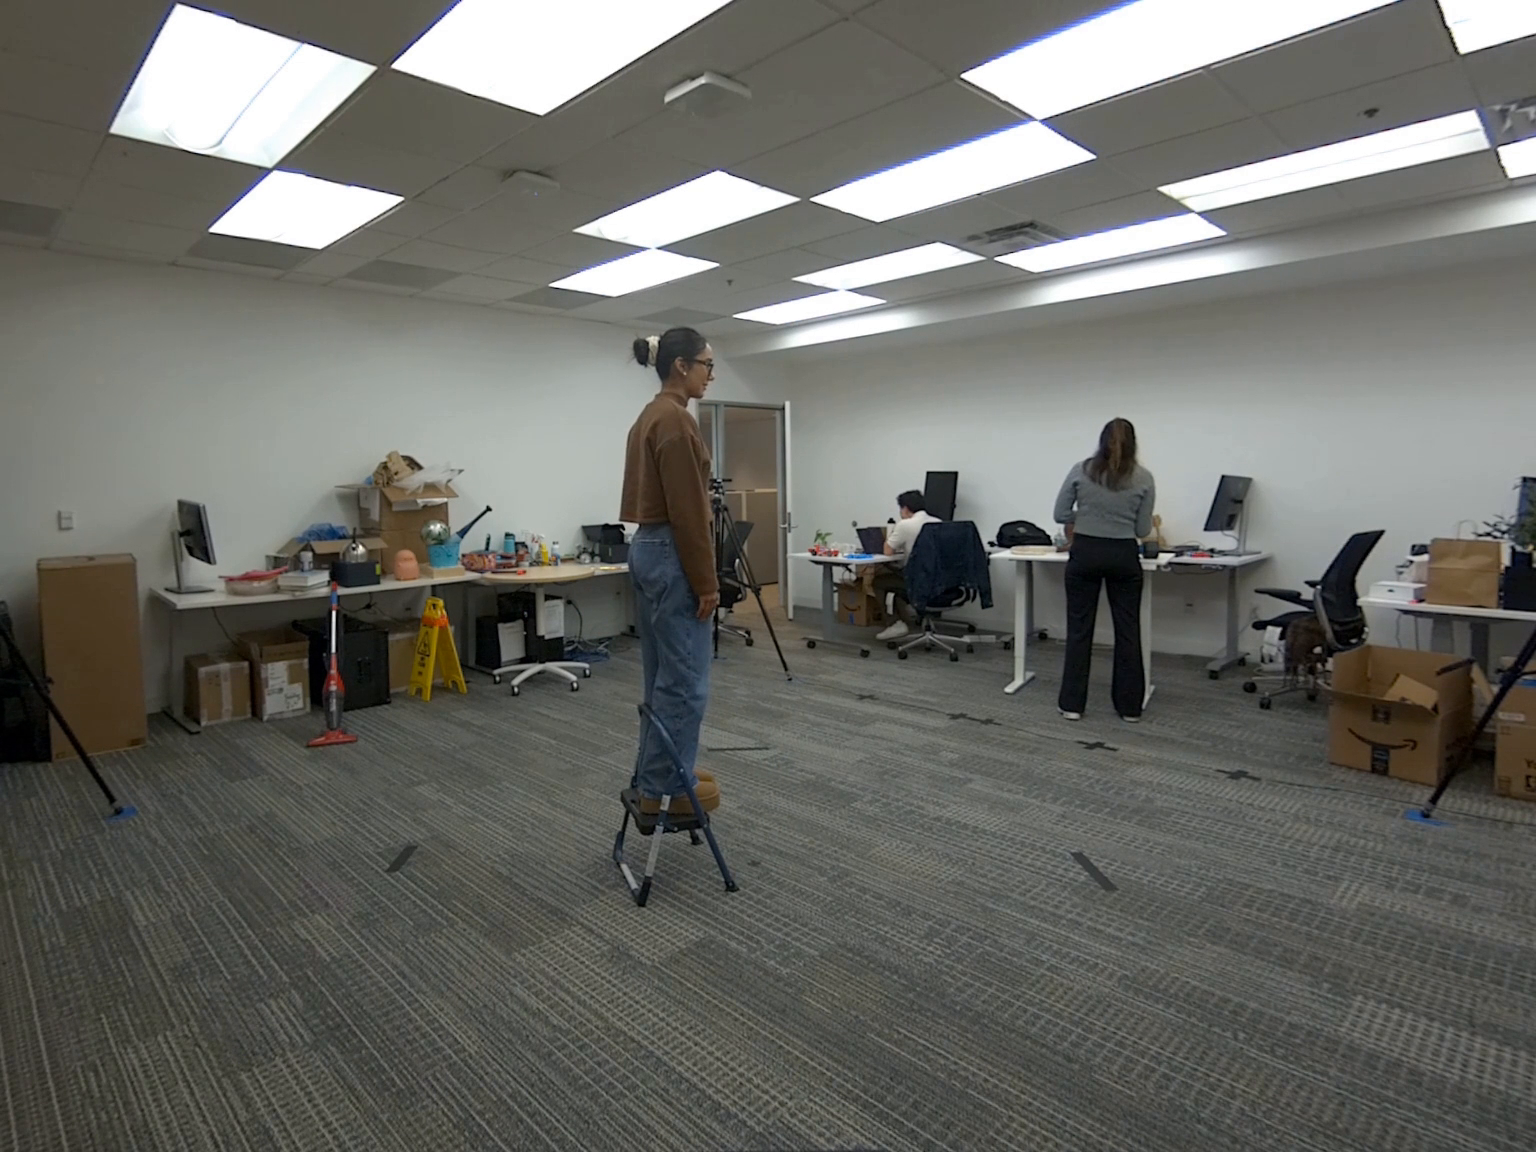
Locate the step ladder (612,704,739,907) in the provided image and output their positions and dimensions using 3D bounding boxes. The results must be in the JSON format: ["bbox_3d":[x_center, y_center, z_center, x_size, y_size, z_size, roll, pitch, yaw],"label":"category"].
[{"bbox_3d":[-0.348,0.760,3.027,0.343,0.604,0.440,-3,5,-22],"label":"step ladder"}]
